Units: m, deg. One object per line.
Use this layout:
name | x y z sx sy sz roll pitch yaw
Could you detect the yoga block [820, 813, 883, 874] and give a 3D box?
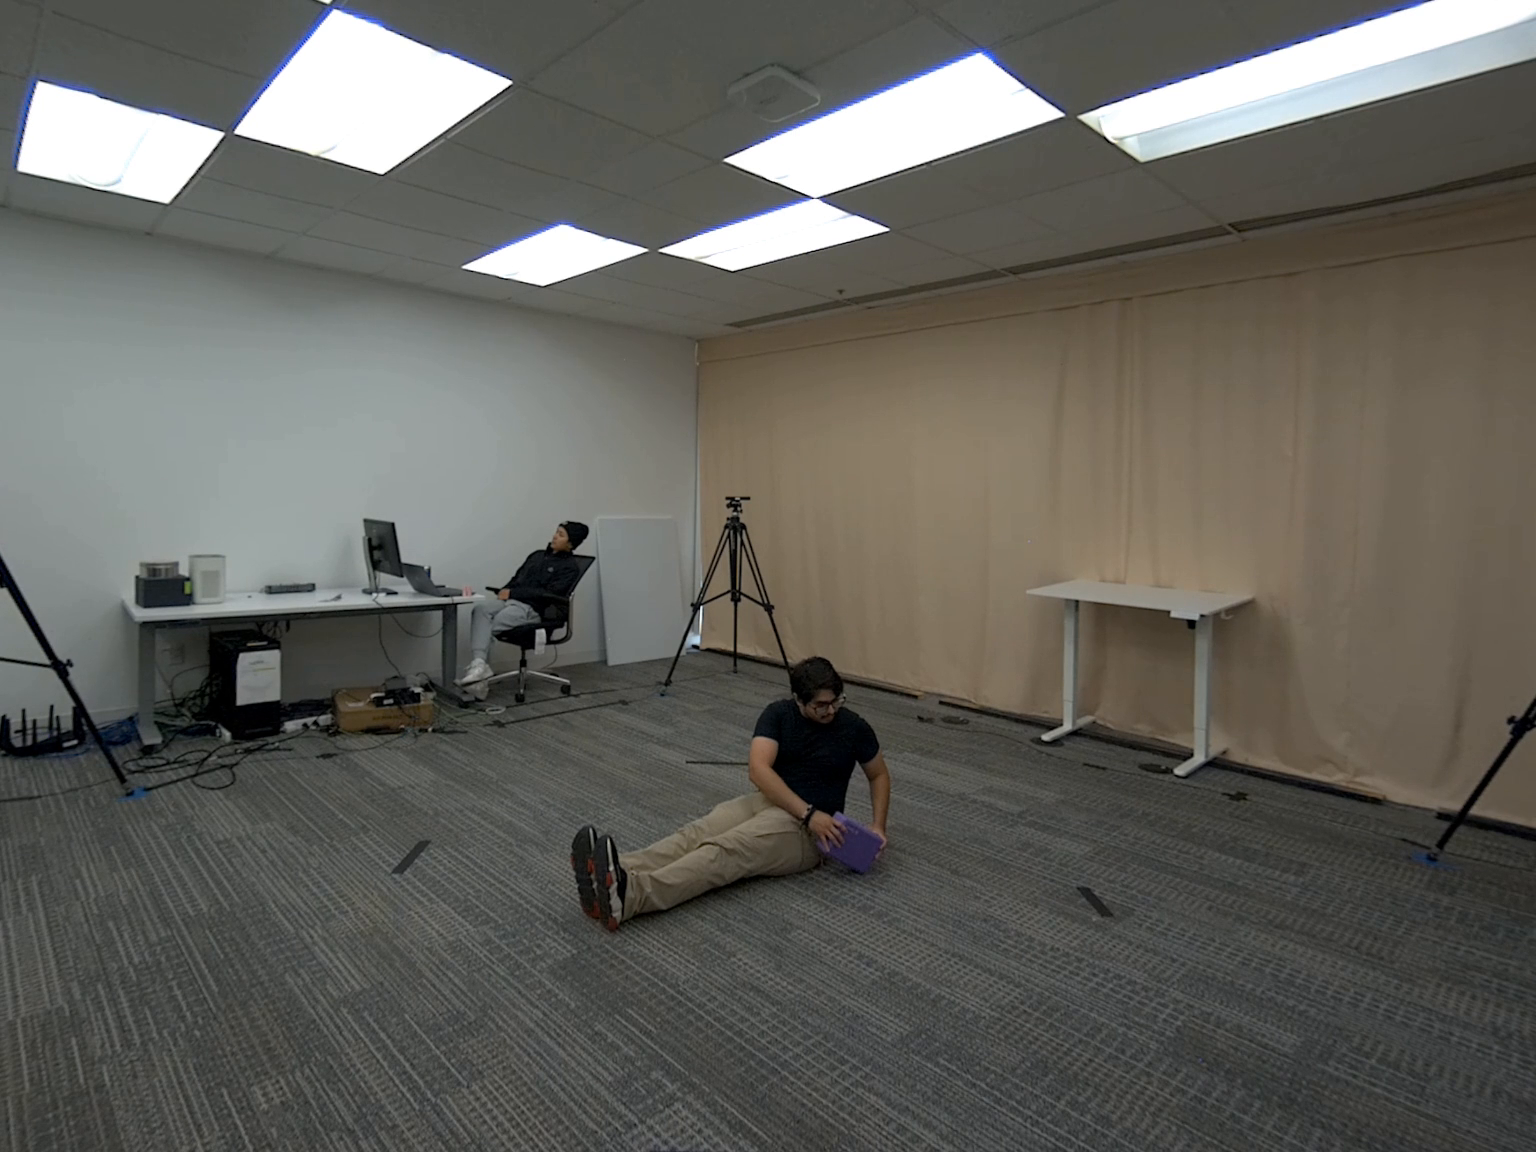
yoga block | 0.298 0.998 3.141 0.226 0.149 0.077 28 2 -13
